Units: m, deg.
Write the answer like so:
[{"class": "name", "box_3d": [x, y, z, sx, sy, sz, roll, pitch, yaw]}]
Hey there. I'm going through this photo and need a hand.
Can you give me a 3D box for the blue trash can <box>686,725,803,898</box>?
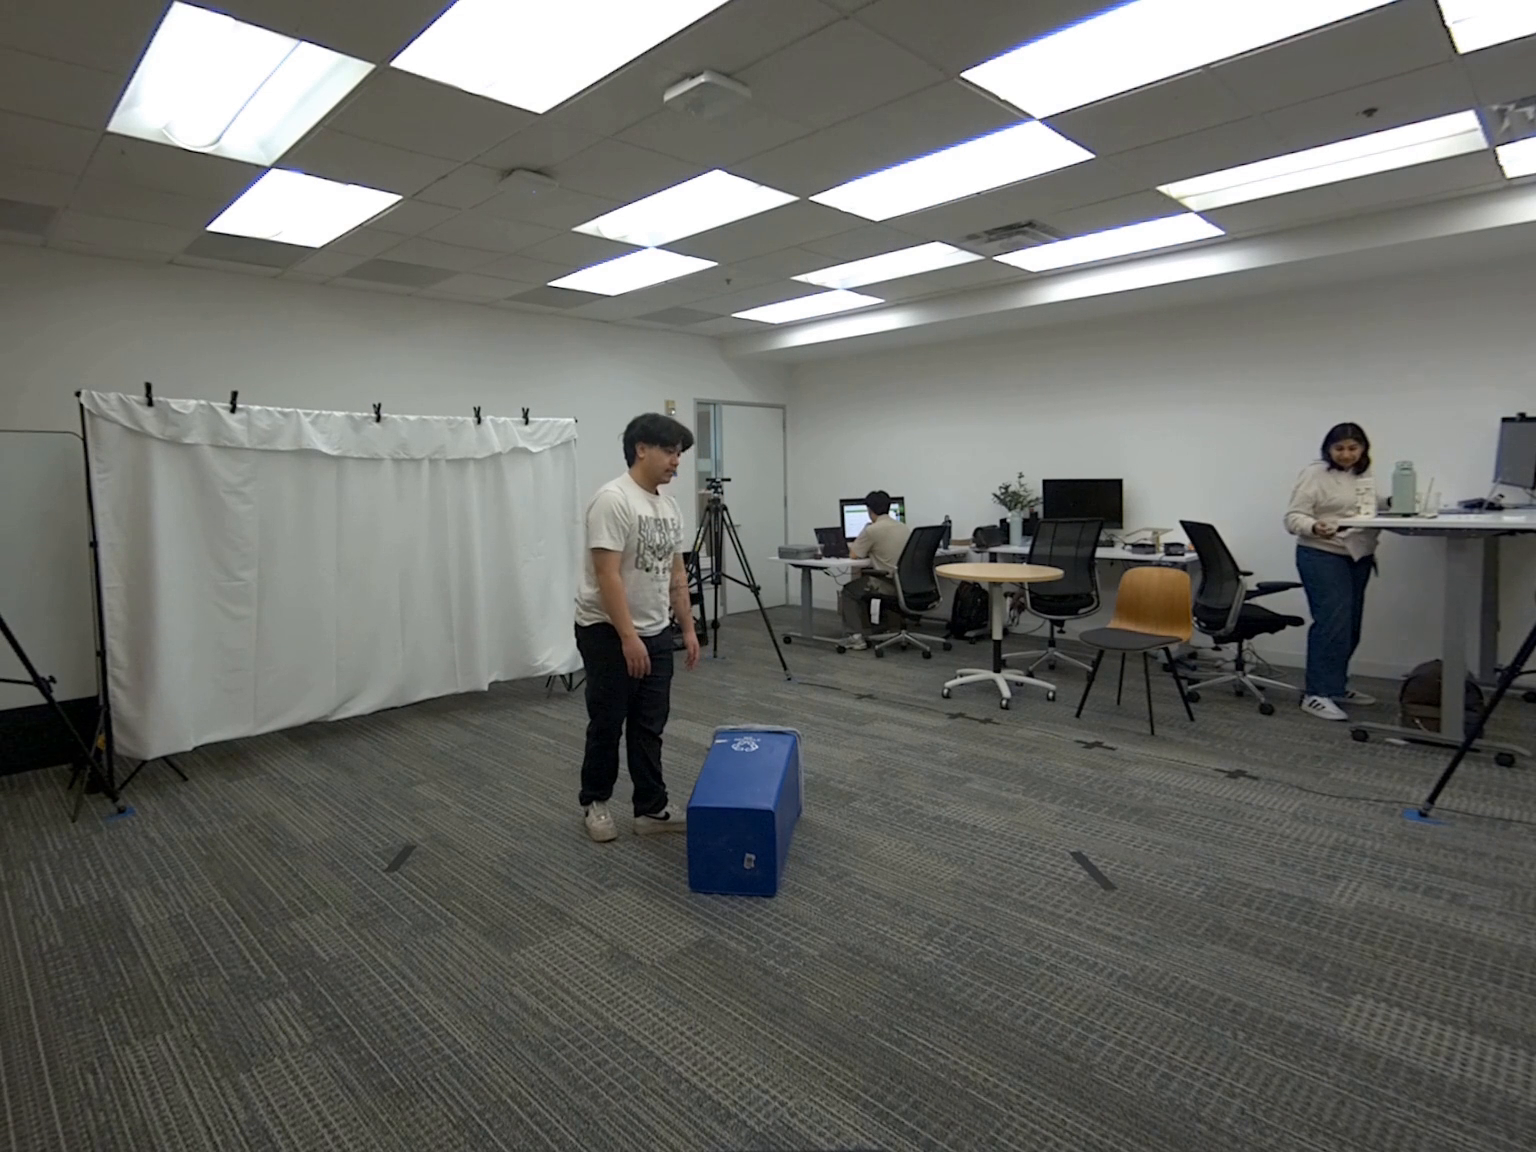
[{"class": "blue trash can", "box_3d": [-0.076, 0.866, 3.201, 0.377, 0.375, 0.714, 0, 9, 6]}]
